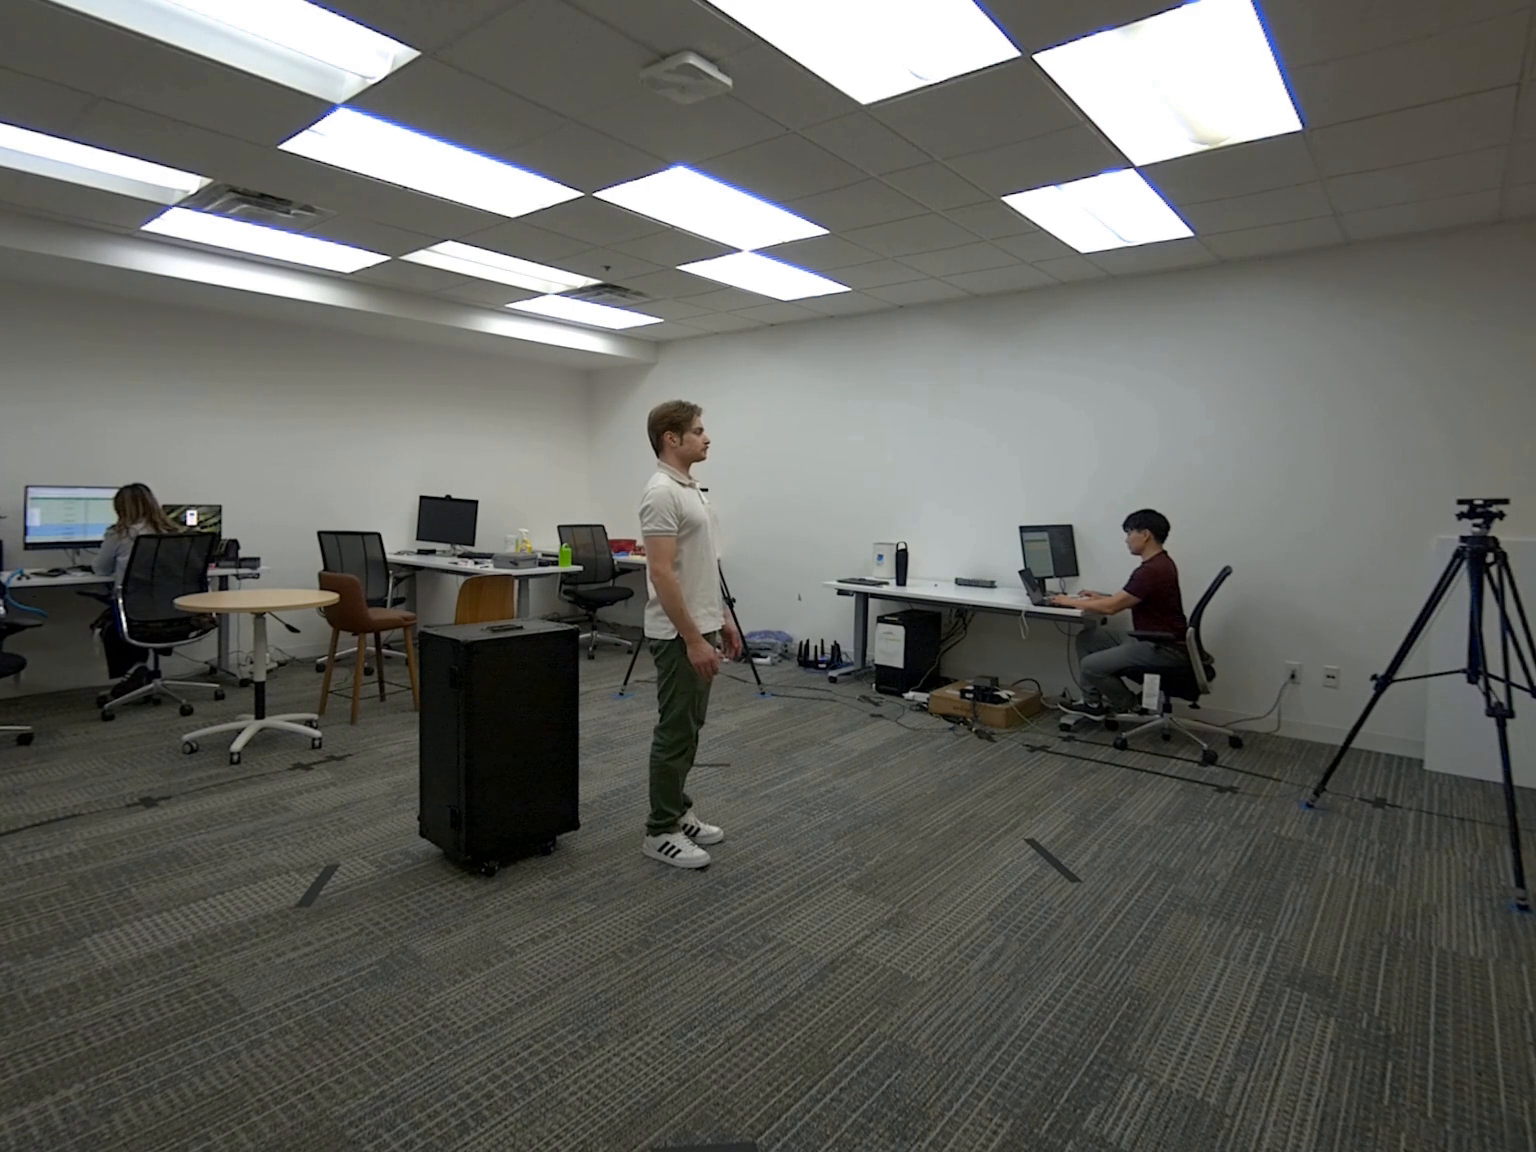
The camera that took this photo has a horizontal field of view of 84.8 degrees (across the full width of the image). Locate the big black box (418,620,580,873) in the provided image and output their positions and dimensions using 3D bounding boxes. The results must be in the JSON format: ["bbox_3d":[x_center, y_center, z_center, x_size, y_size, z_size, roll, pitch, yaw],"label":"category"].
[{"bbox_3d":[-1.038,0.625,3.221,0.398,0.867,0.507,2,3,43],"label":"big black box"}]
